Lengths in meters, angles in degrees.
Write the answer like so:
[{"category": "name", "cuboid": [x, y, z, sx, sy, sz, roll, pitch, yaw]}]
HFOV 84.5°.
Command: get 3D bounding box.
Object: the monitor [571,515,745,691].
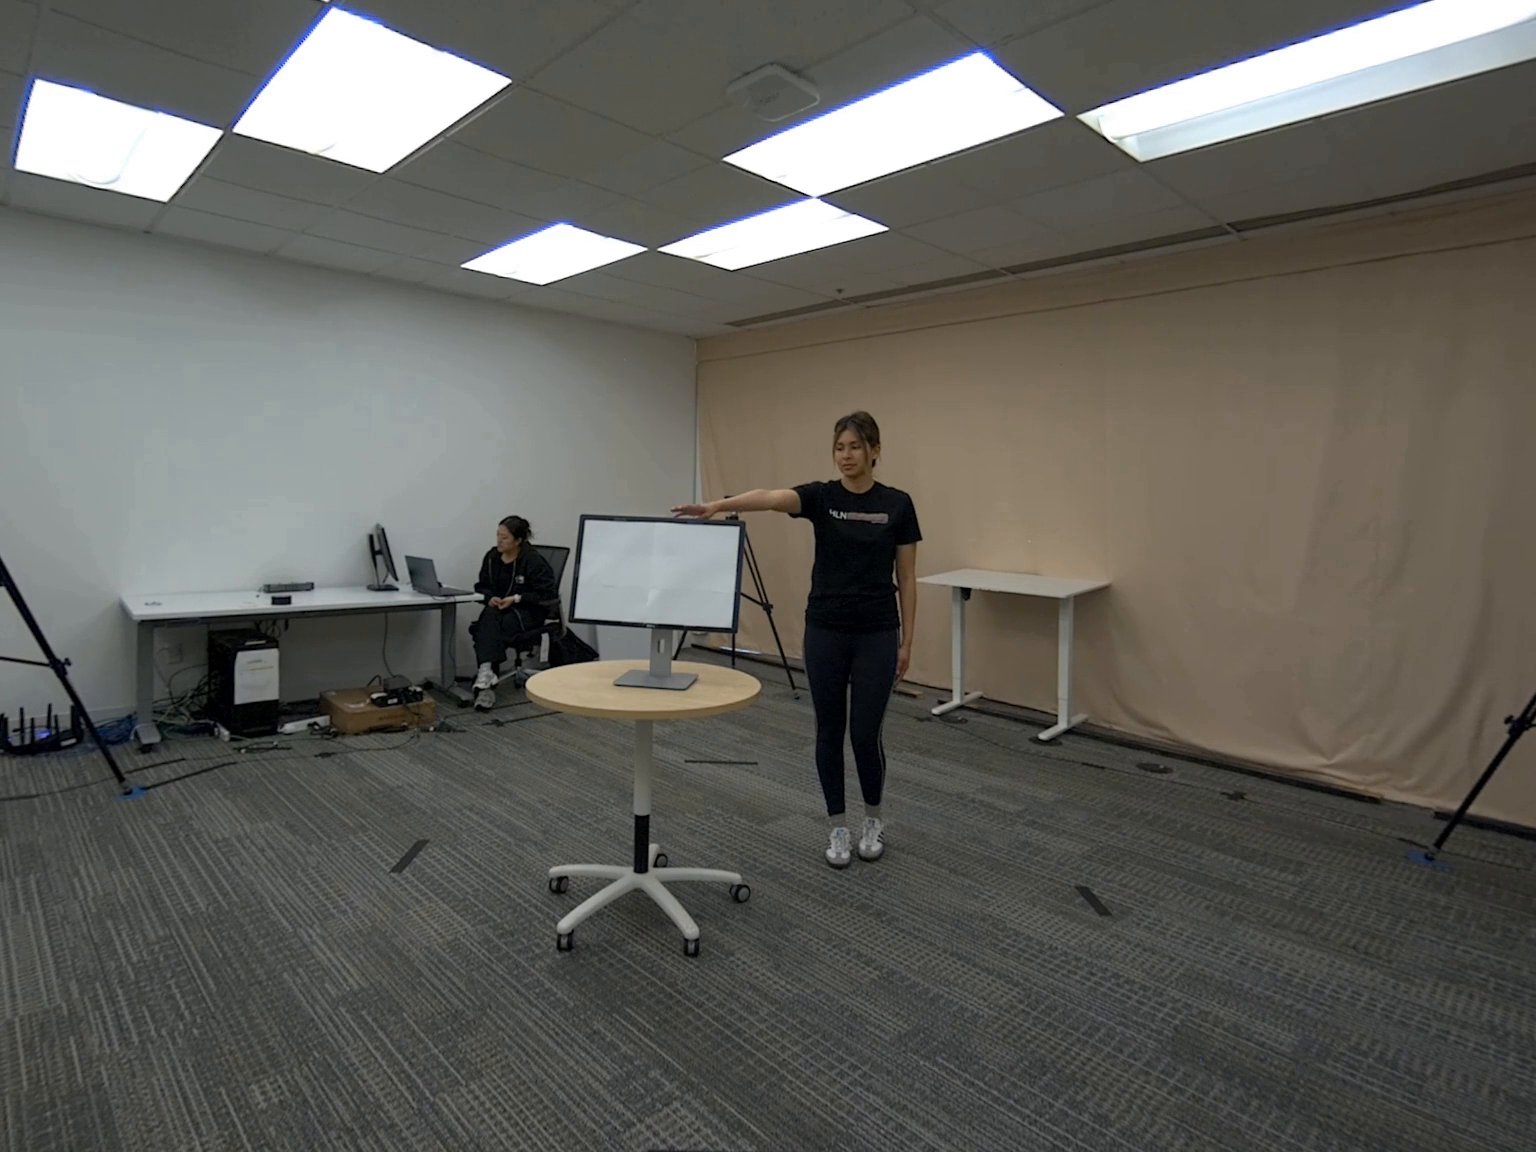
[{"category": "monitor", "cuboid": [-0.359, 0.089, 2.765, 0.543, 0.521, 0.186, 3, 4, 9]}]
